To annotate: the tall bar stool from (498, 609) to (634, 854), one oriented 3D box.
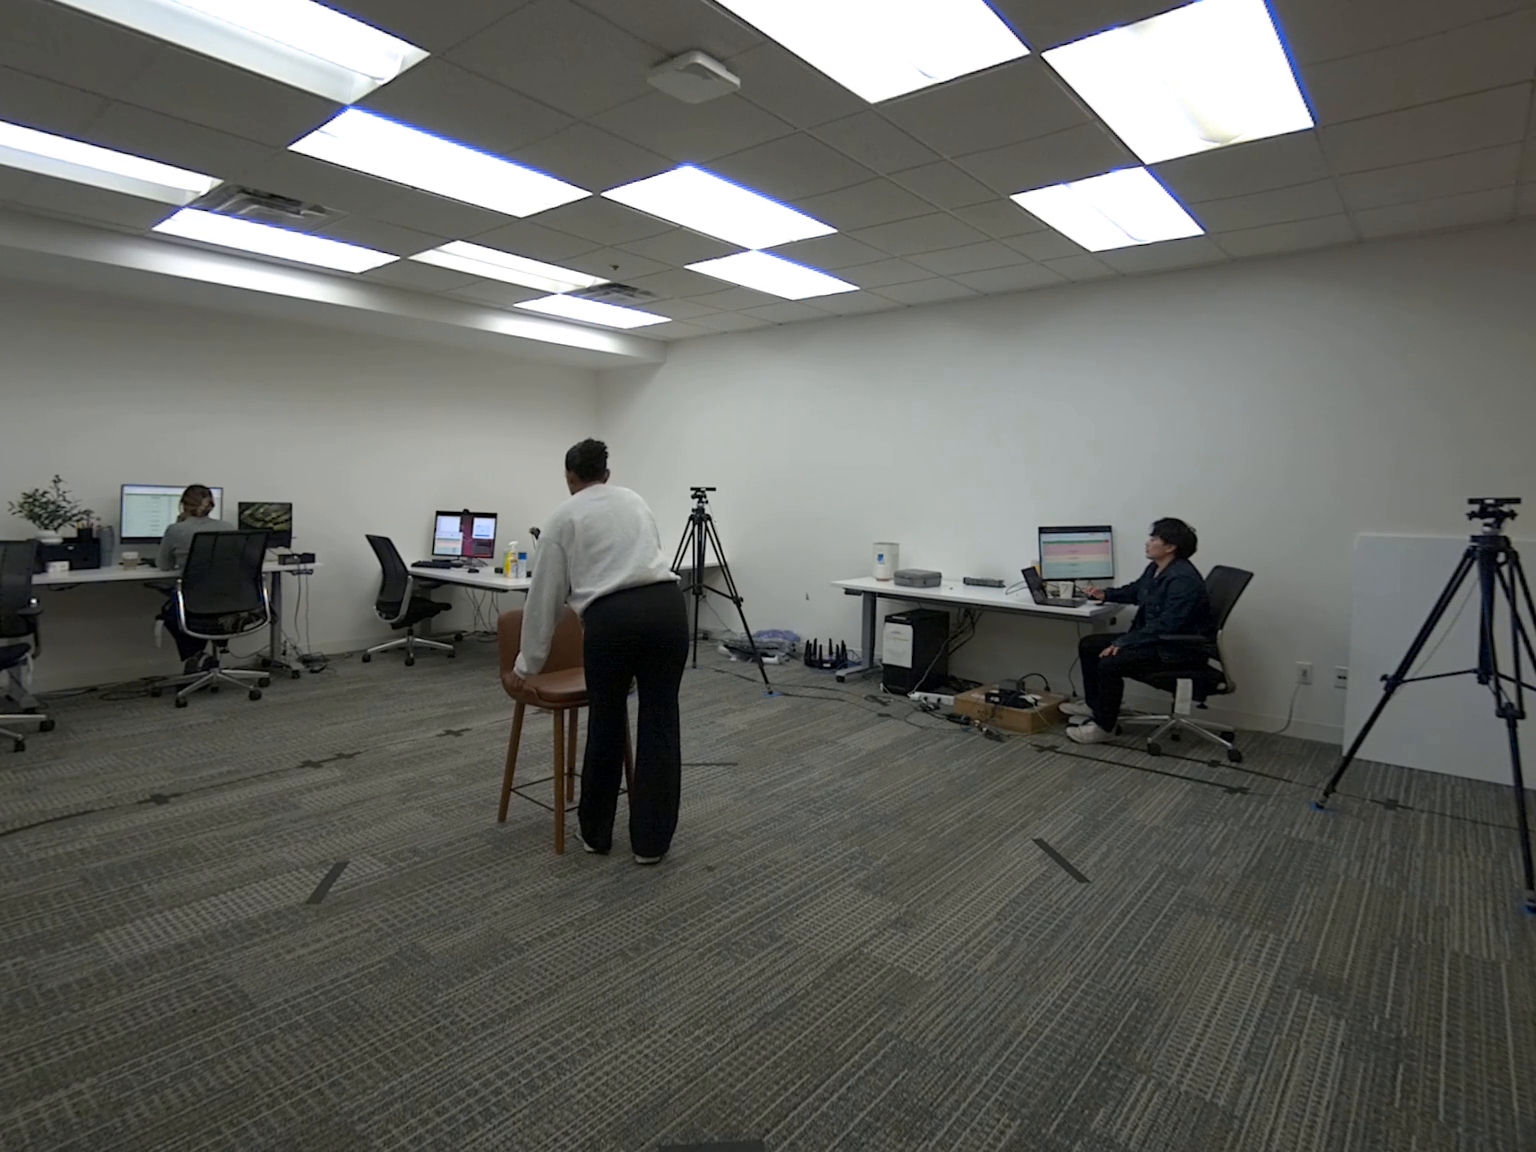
[{"bbox_3d":[-0.841,0.579,3.482,0.482,0.889,0.442,0,1,41],"label":"tall bar stool"}]
